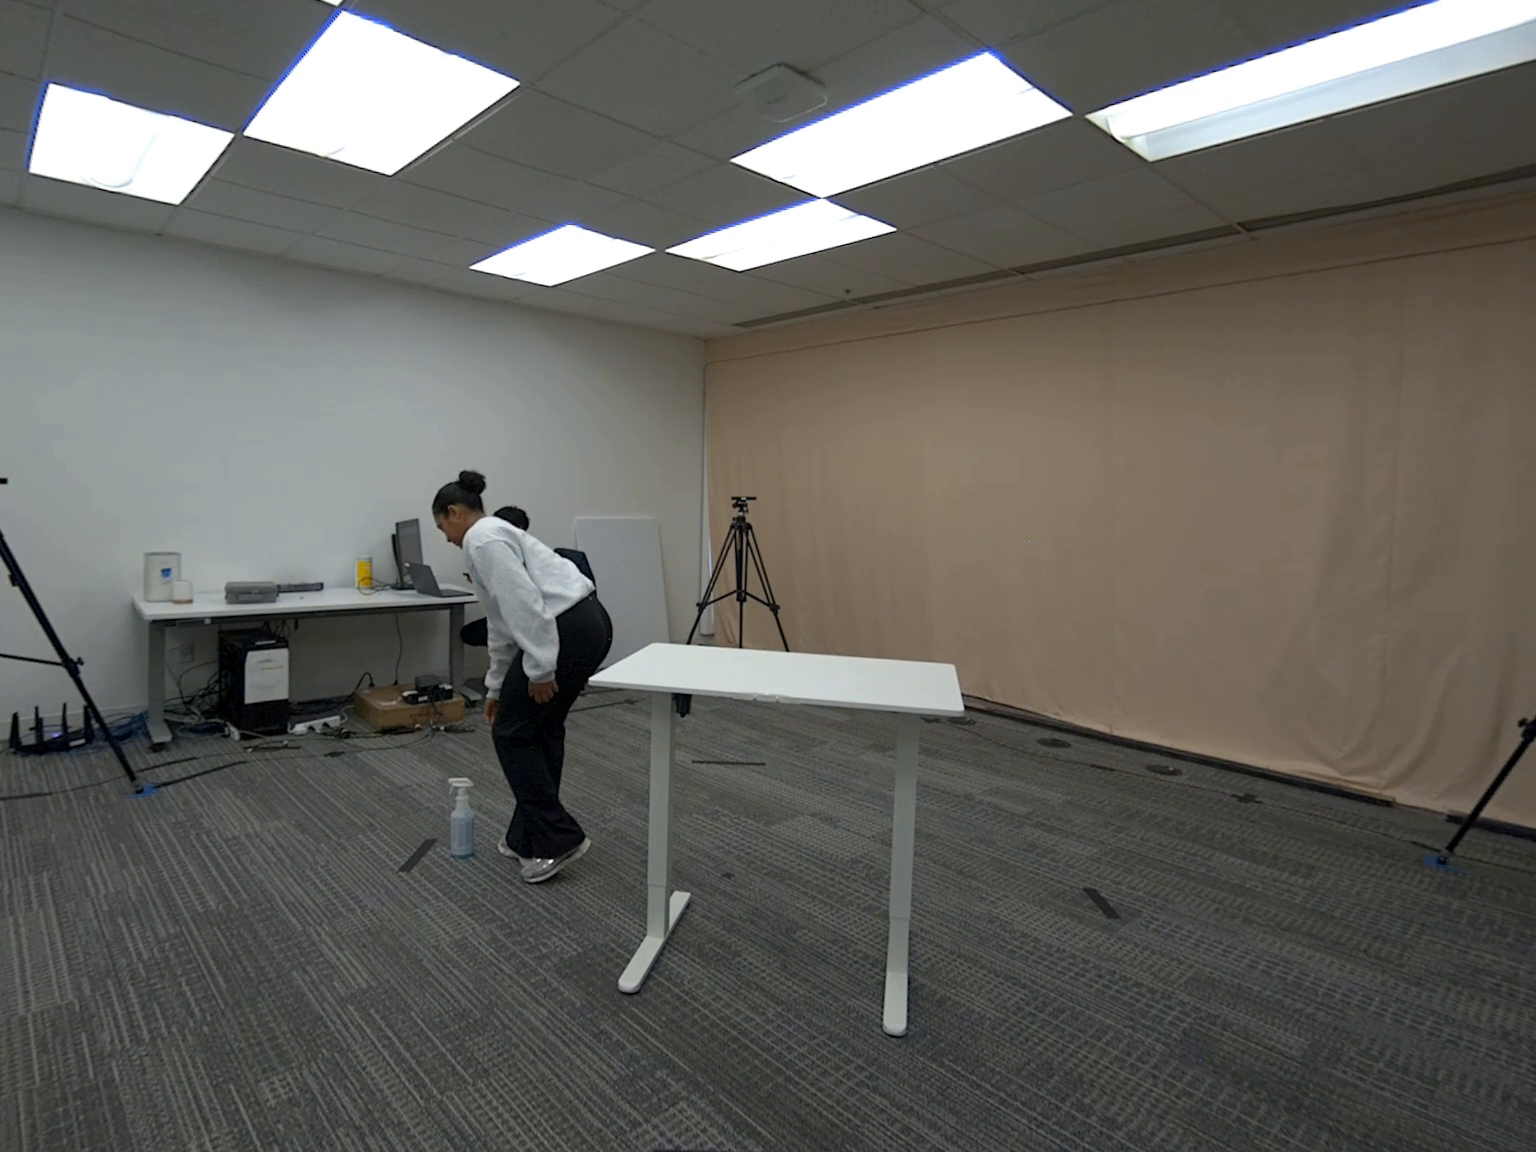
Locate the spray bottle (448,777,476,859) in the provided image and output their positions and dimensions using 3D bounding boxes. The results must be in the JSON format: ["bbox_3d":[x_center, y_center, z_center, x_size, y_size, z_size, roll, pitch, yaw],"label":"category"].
[{"bbox_3d":[-1.176,0.923,3.231,0.091,0.296,0.086,1,4,13],"label":"spray bottle"}]
